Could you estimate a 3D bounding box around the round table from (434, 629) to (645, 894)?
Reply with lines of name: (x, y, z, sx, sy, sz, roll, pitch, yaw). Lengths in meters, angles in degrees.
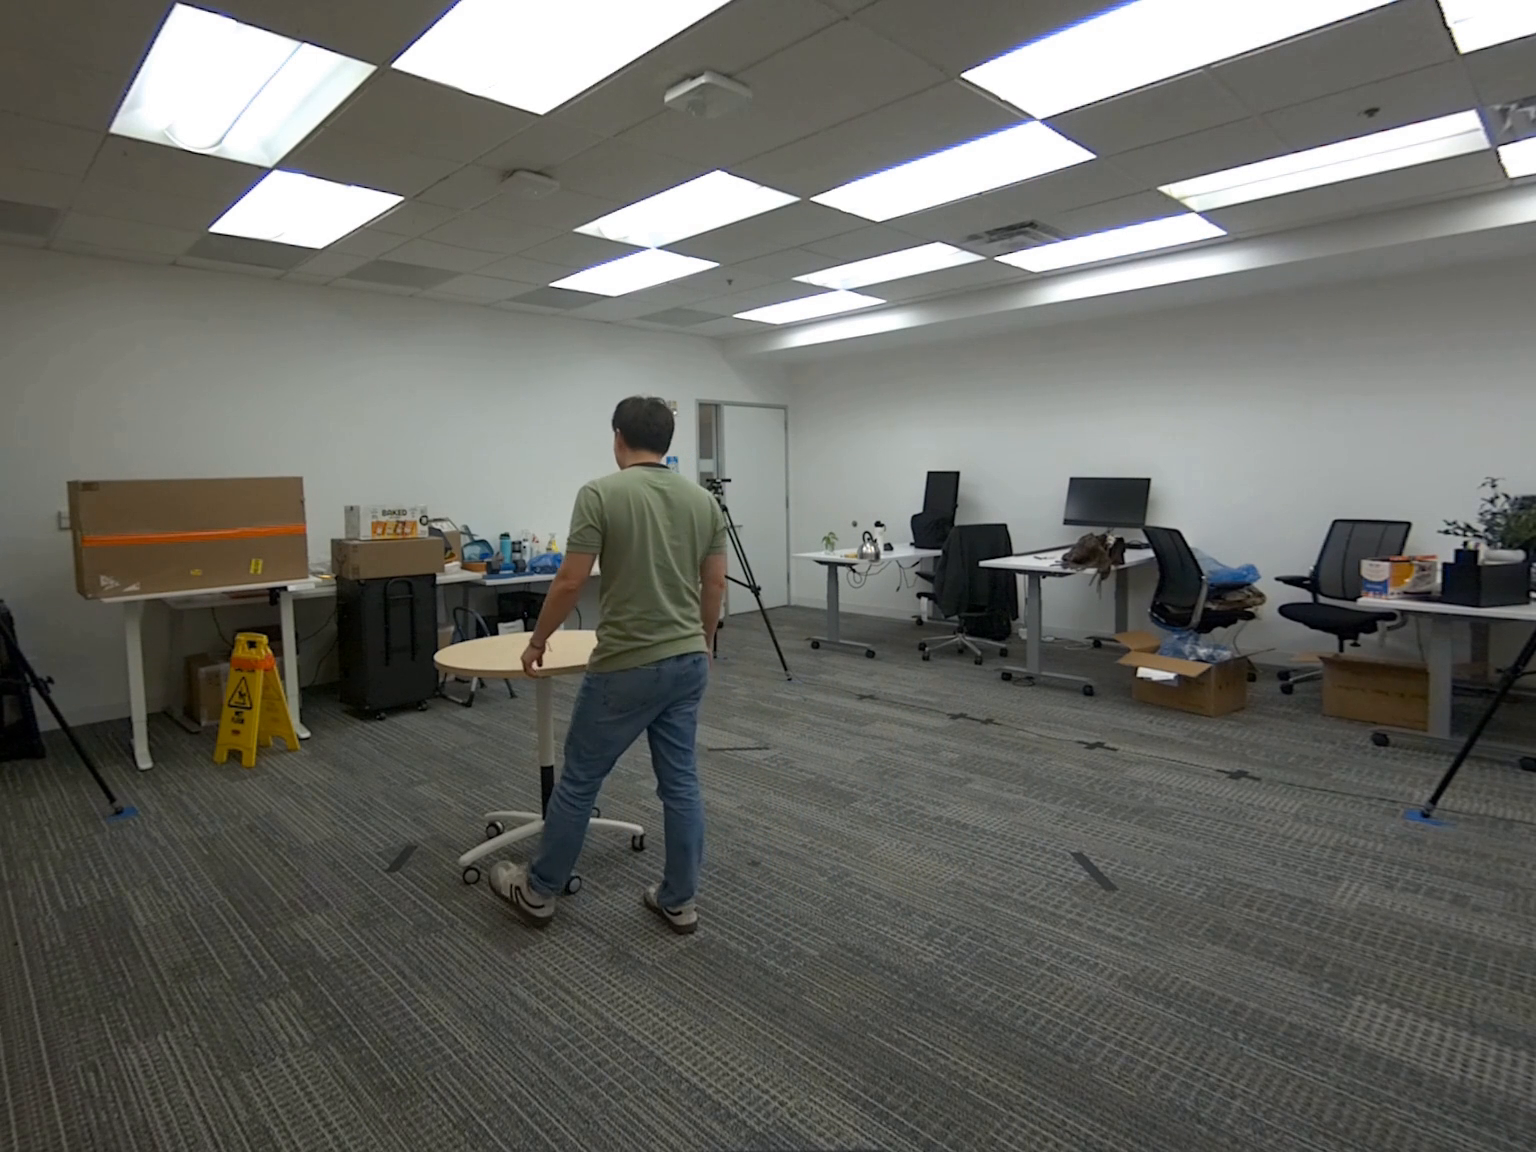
round table: (-0.823, 0.658, 3.185, 0.763, 0.791, 0.767, -2, 4, -2)
